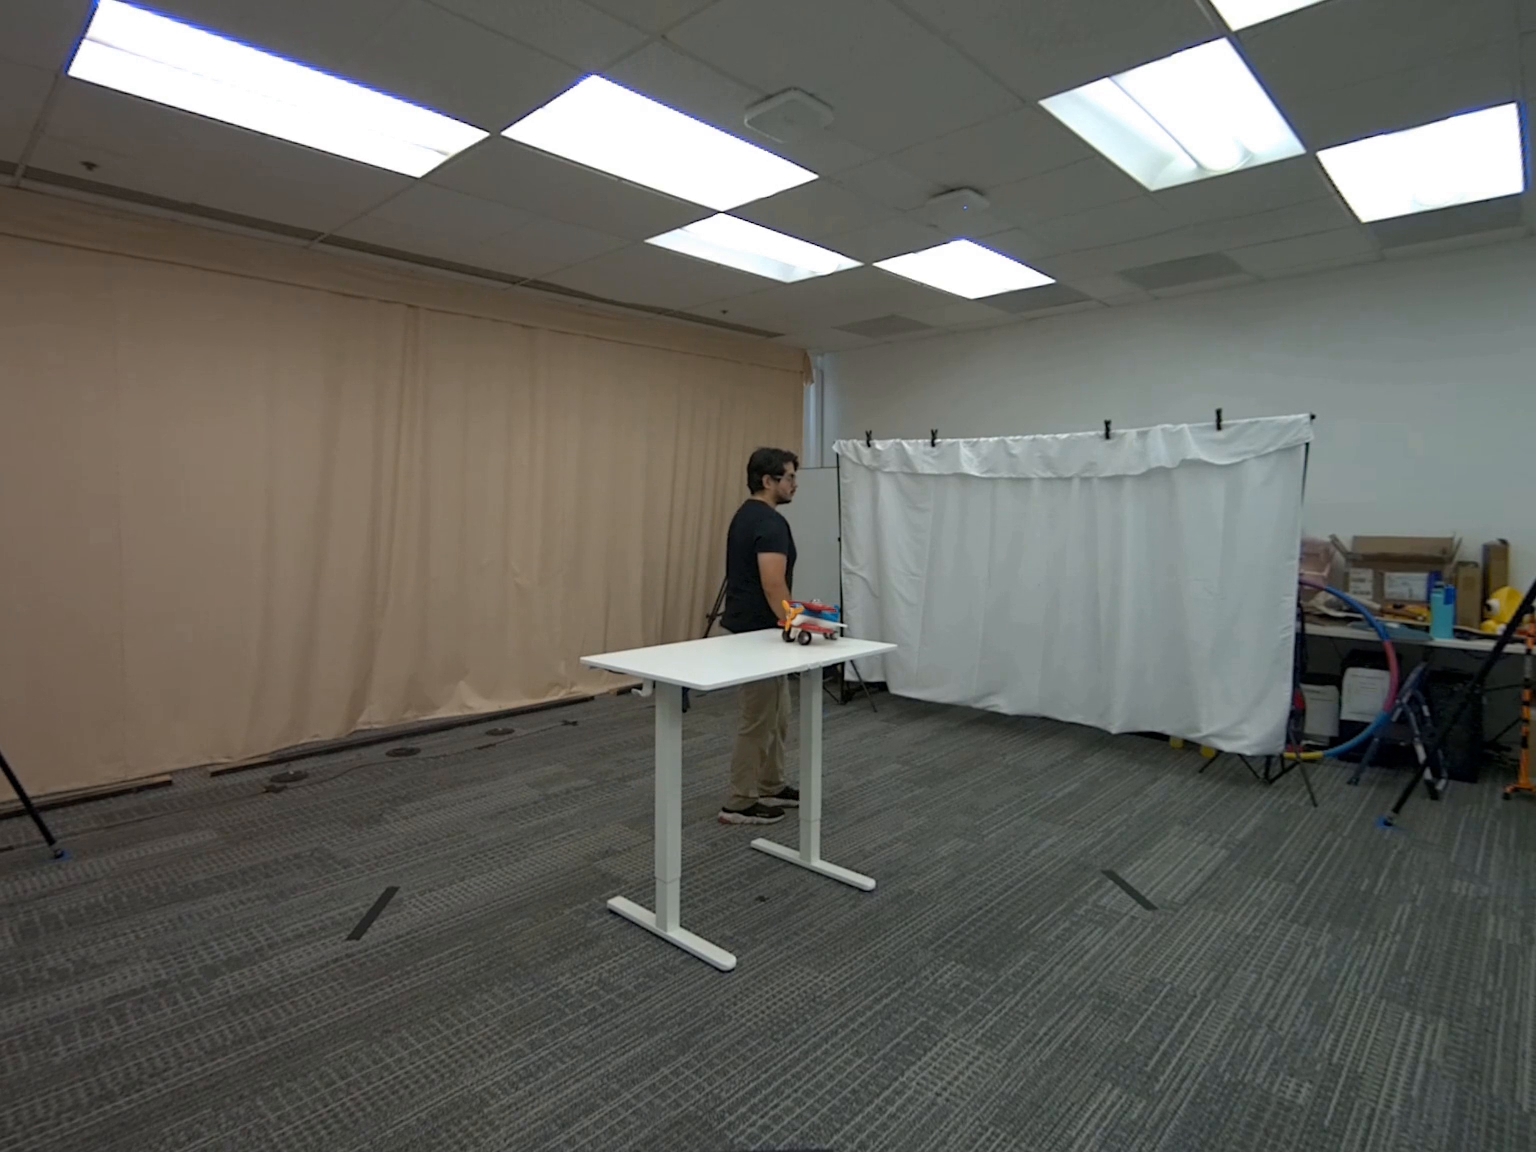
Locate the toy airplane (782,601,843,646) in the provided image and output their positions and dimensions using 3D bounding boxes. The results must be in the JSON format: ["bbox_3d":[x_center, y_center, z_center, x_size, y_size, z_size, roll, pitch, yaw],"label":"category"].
[{"bbox_3d":[0.162,0.169,3.176,0.257,0.156,0.253,3,6,23],"label":"toy airplane"}]
